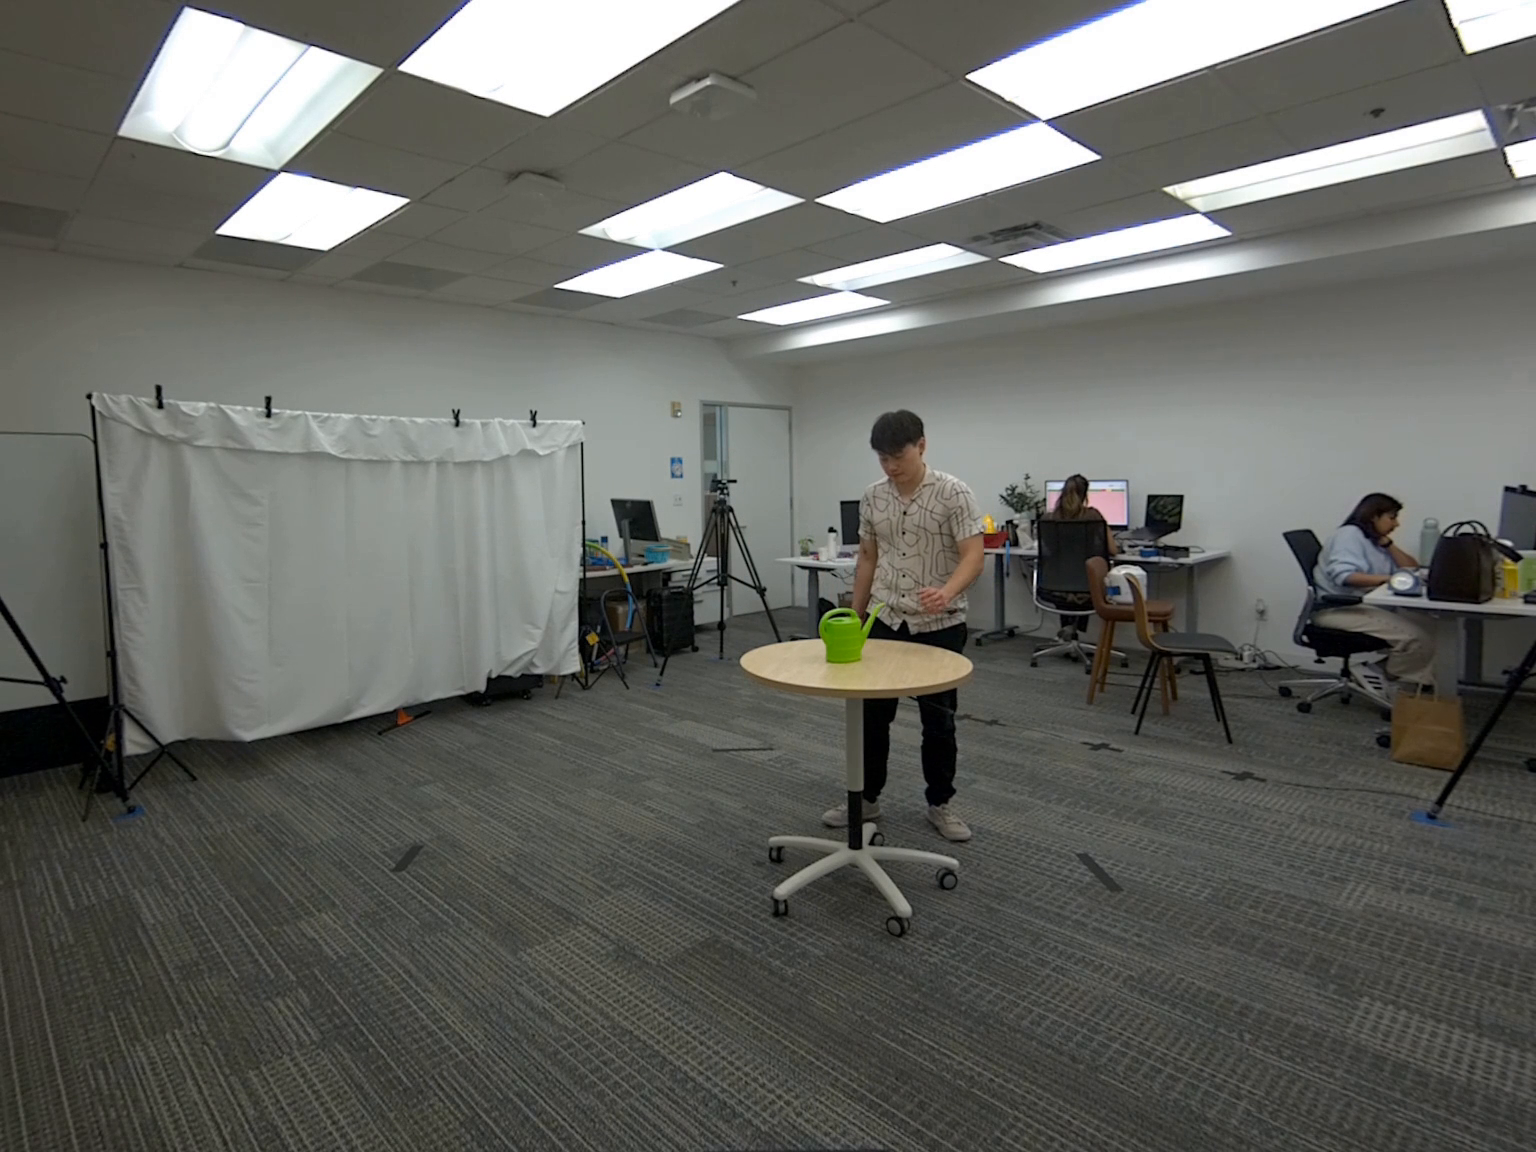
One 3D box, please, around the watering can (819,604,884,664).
[{"bbox_3d":[0.299,0.191,2.884,0.275,0.176,0.099,-4,4,-12],"label":"watering can"}]
